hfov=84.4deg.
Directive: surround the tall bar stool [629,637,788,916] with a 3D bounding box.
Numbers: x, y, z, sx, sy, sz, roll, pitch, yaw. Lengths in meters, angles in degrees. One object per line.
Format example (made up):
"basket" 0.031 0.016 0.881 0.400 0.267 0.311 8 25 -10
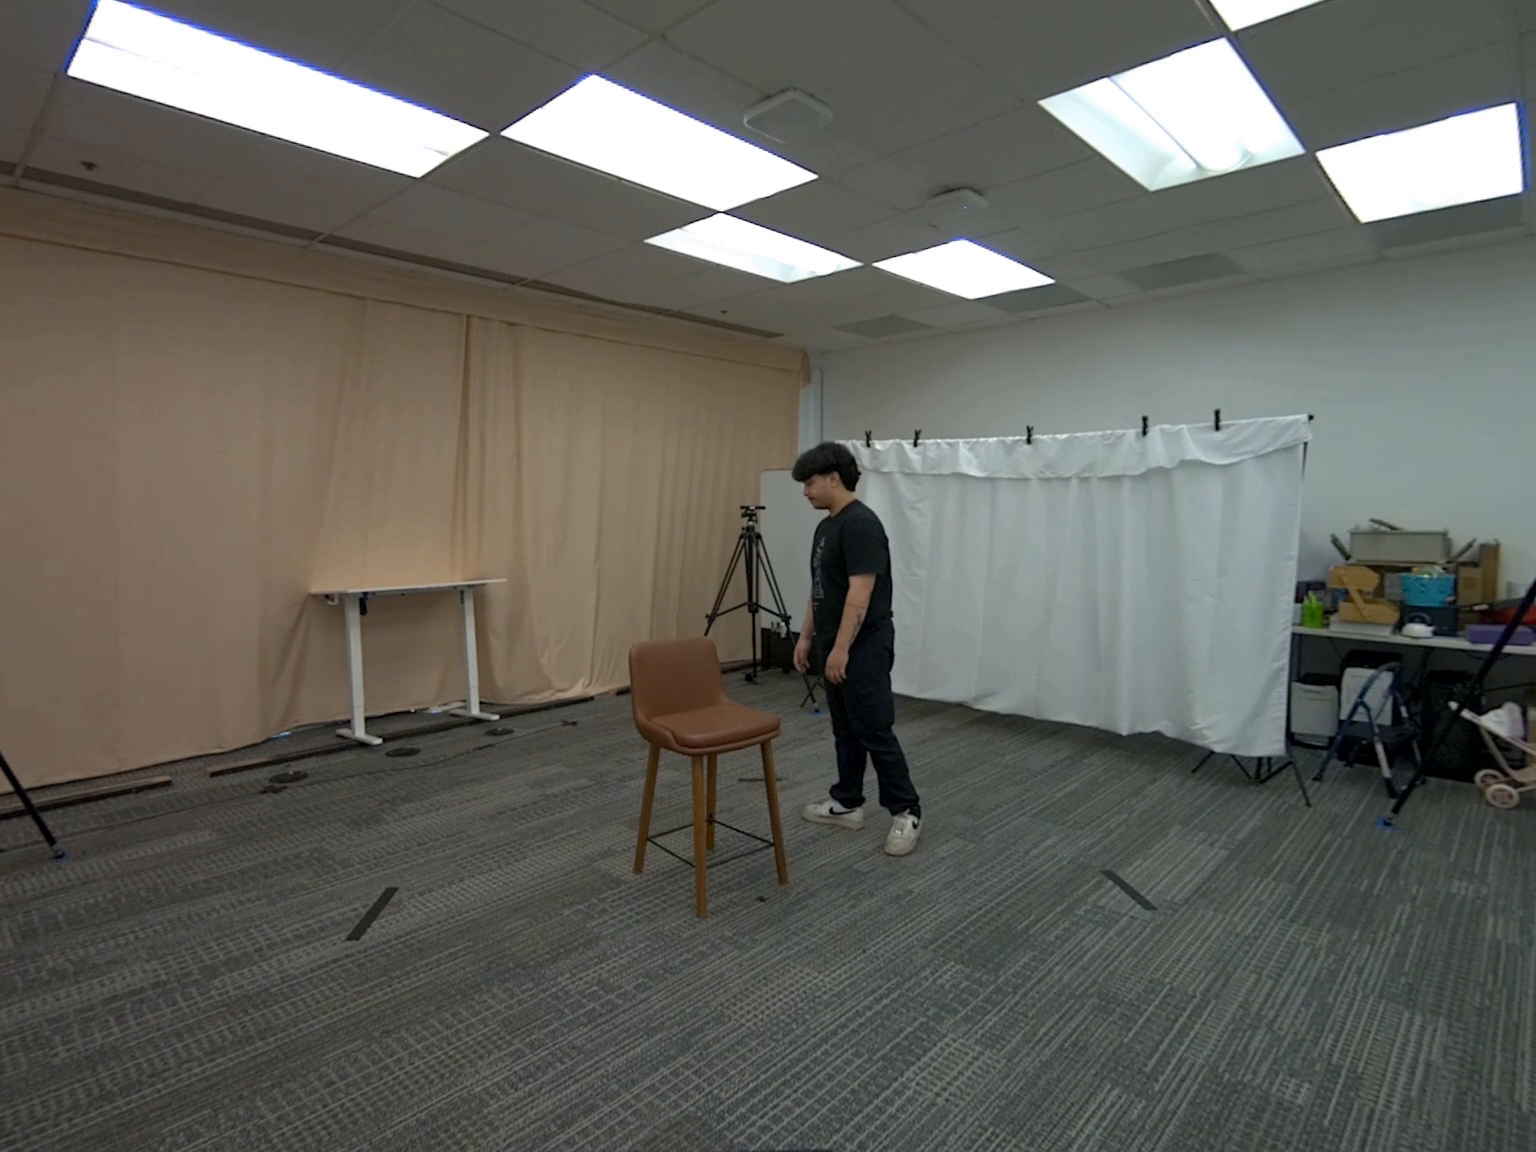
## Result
"tall bar stool" -0.232 0.698 3.130 0.443 0.888 0.482 -3 3 -40
